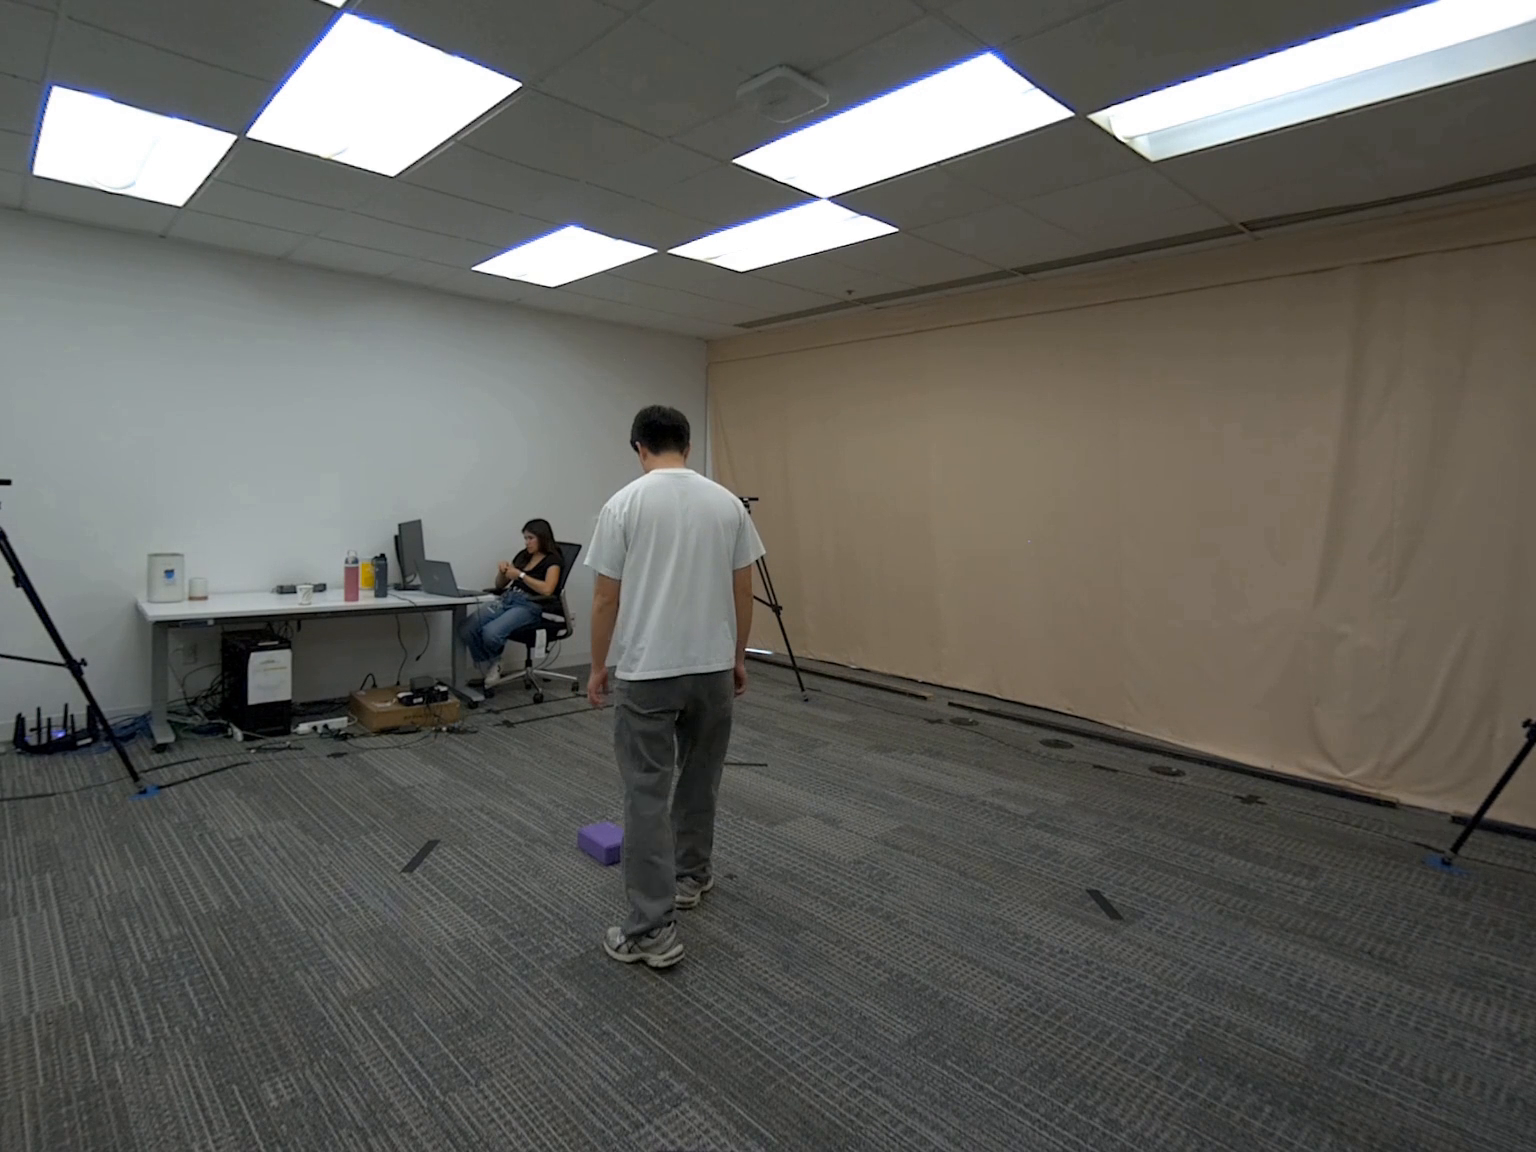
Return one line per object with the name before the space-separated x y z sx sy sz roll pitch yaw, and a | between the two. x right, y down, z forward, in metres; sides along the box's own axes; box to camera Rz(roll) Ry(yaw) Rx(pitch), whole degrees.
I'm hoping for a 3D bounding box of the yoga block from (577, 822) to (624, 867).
yoga block | -0.637 1.045 3.286 0.145 0.076 0.235 -3 6 -41
